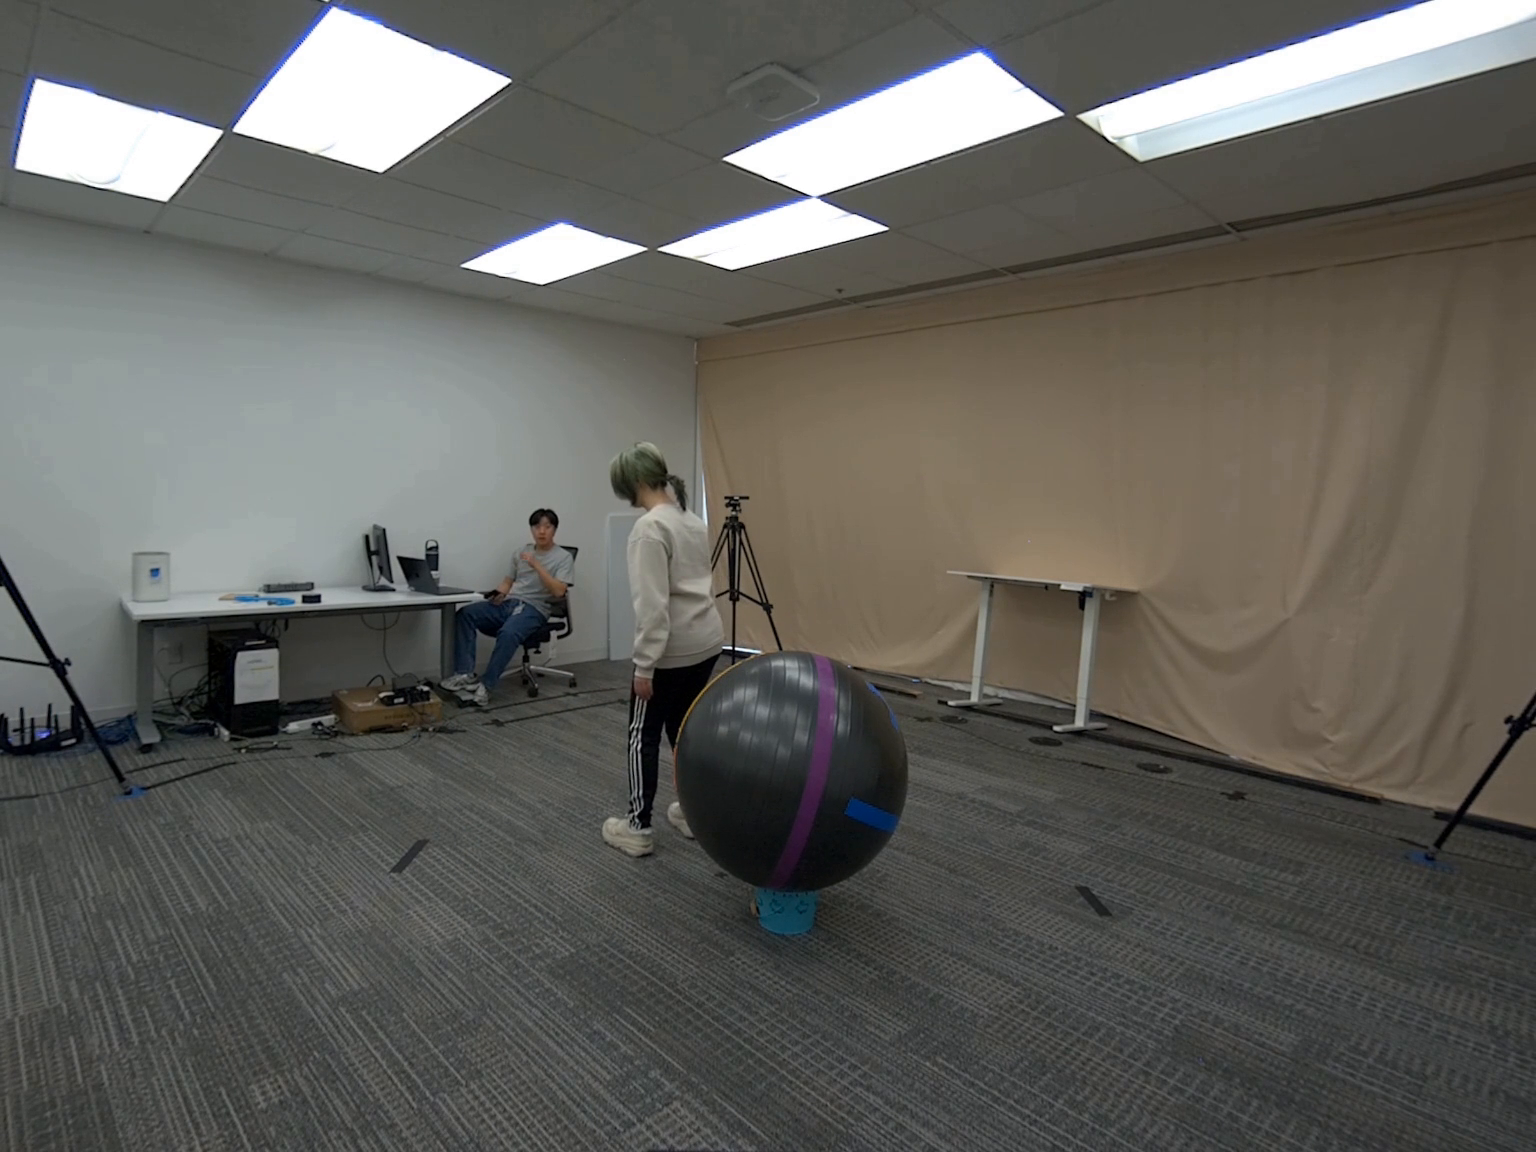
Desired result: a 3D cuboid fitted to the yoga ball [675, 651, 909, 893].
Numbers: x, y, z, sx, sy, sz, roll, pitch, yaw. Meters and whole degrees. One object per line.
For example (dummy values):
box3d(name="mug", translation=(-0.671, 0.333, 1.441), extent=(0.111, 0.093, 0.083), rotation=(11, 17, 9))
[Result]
box3d(name="yoga ball", translation=(0.065, 0.632, 2.752), extent=(0.757, 0.756, 0.761), rotation=(1, 4, -1))
